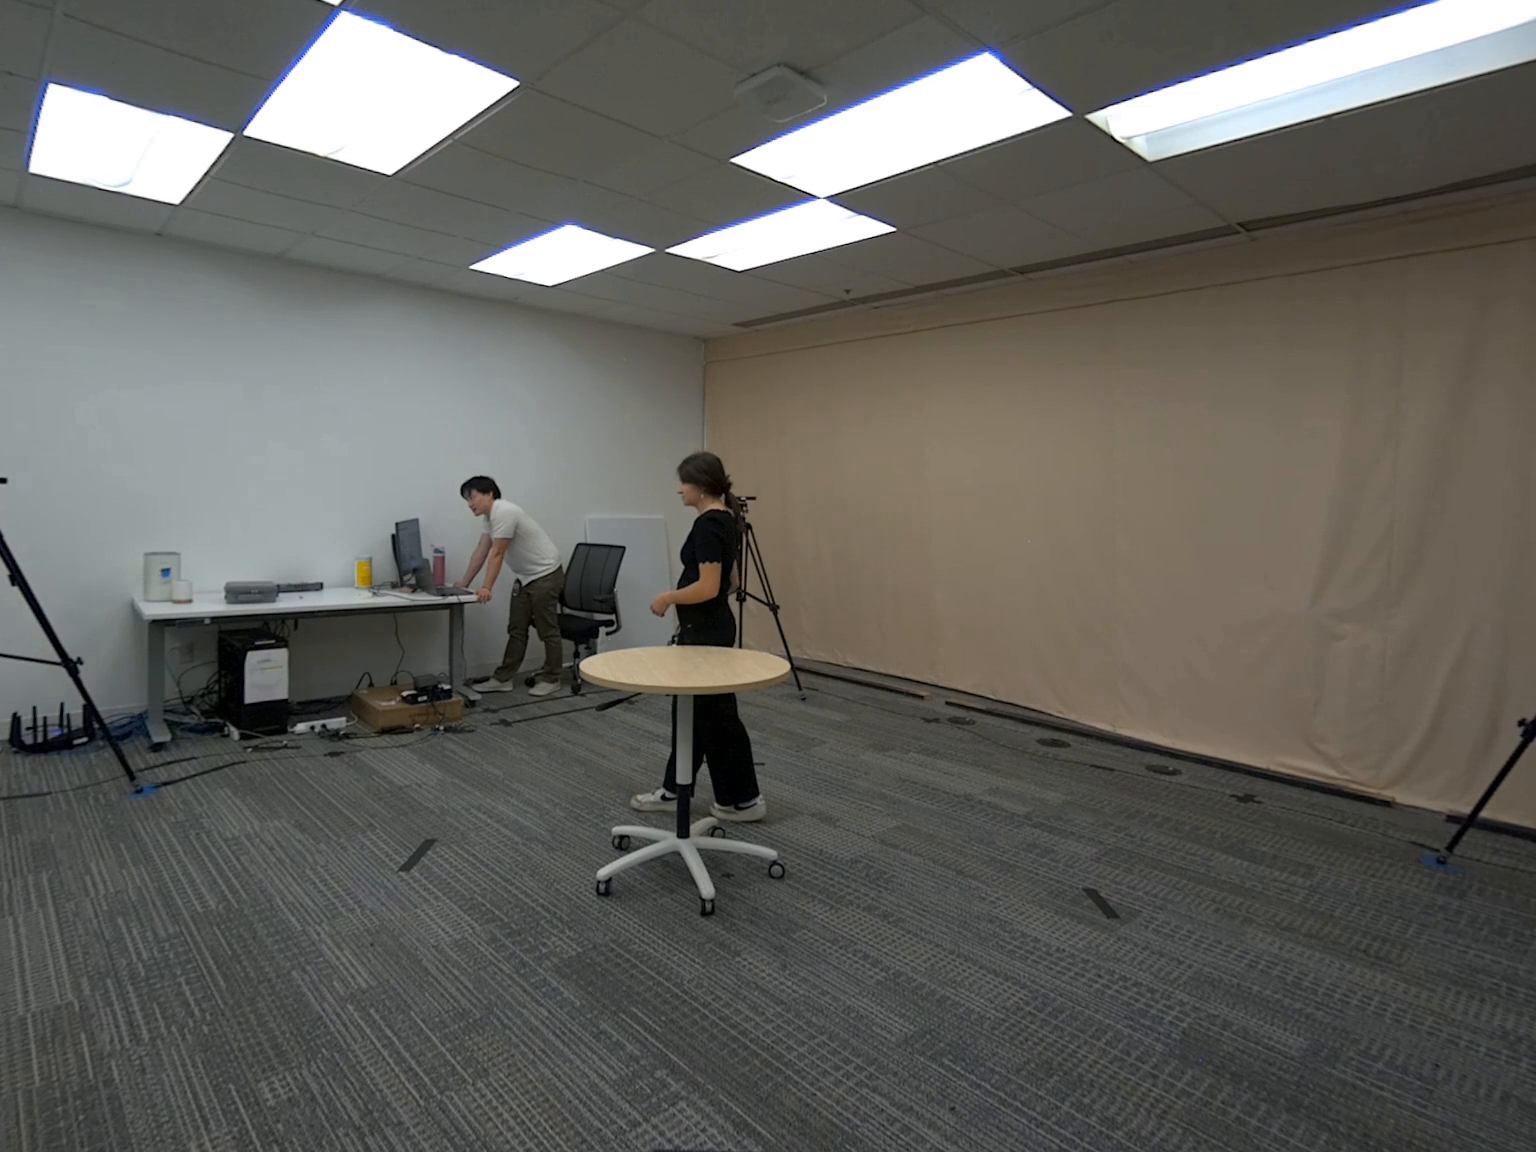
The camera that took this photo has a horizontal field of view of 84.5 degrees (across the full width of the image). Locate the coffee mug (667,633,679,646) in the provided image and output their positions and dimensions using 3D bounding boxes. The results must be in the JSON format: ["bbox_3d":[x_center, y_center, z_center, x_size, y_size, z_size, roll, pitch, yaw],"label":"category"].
[{"bbox_3d":[-0.397,0.321,3.907,0.205,0.120,0.088,1,27,12],"label":"coffee mug"}]
